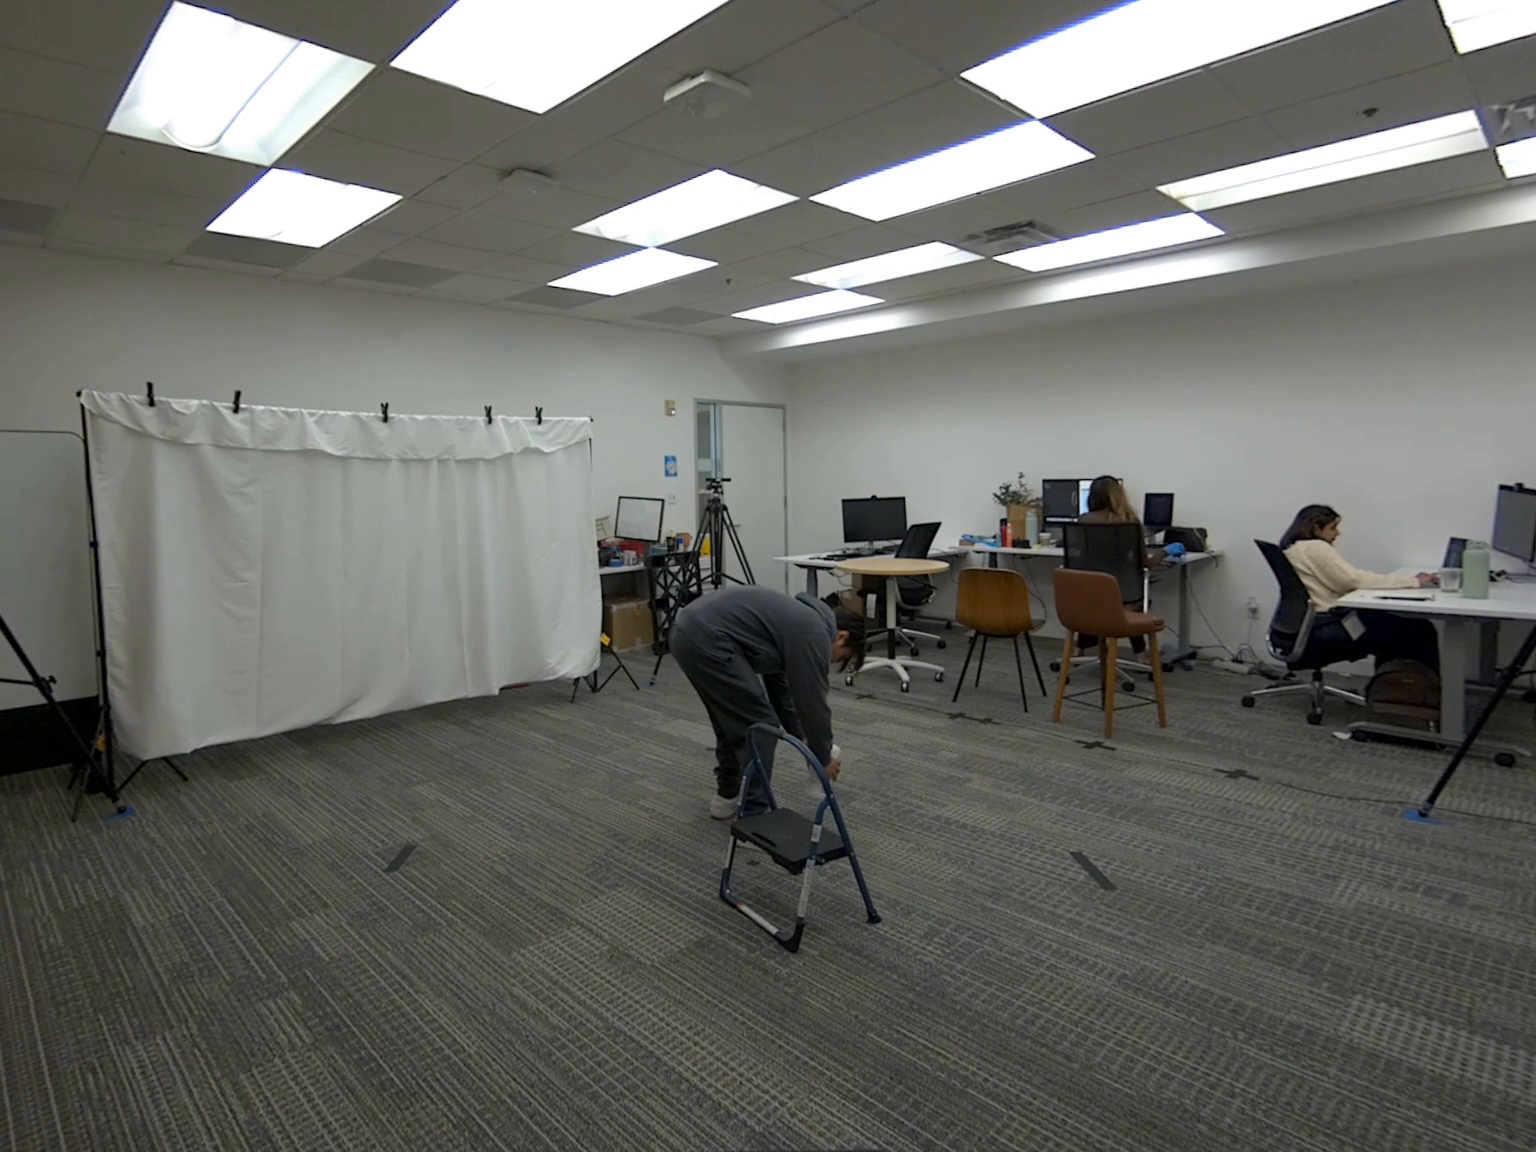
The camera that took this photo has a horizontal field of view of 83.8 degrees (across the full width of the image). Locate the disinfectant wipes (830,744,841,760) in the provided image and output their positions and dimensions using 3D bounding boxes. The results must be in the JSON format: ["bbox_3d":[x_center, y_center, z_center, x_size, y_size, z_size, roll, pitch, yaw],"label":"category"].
[{"bbox_3d":[0.227,0.801,3.530,0.118,0.217,0.118,13,-1,-2],"label":"disinfectant wipes"}]
